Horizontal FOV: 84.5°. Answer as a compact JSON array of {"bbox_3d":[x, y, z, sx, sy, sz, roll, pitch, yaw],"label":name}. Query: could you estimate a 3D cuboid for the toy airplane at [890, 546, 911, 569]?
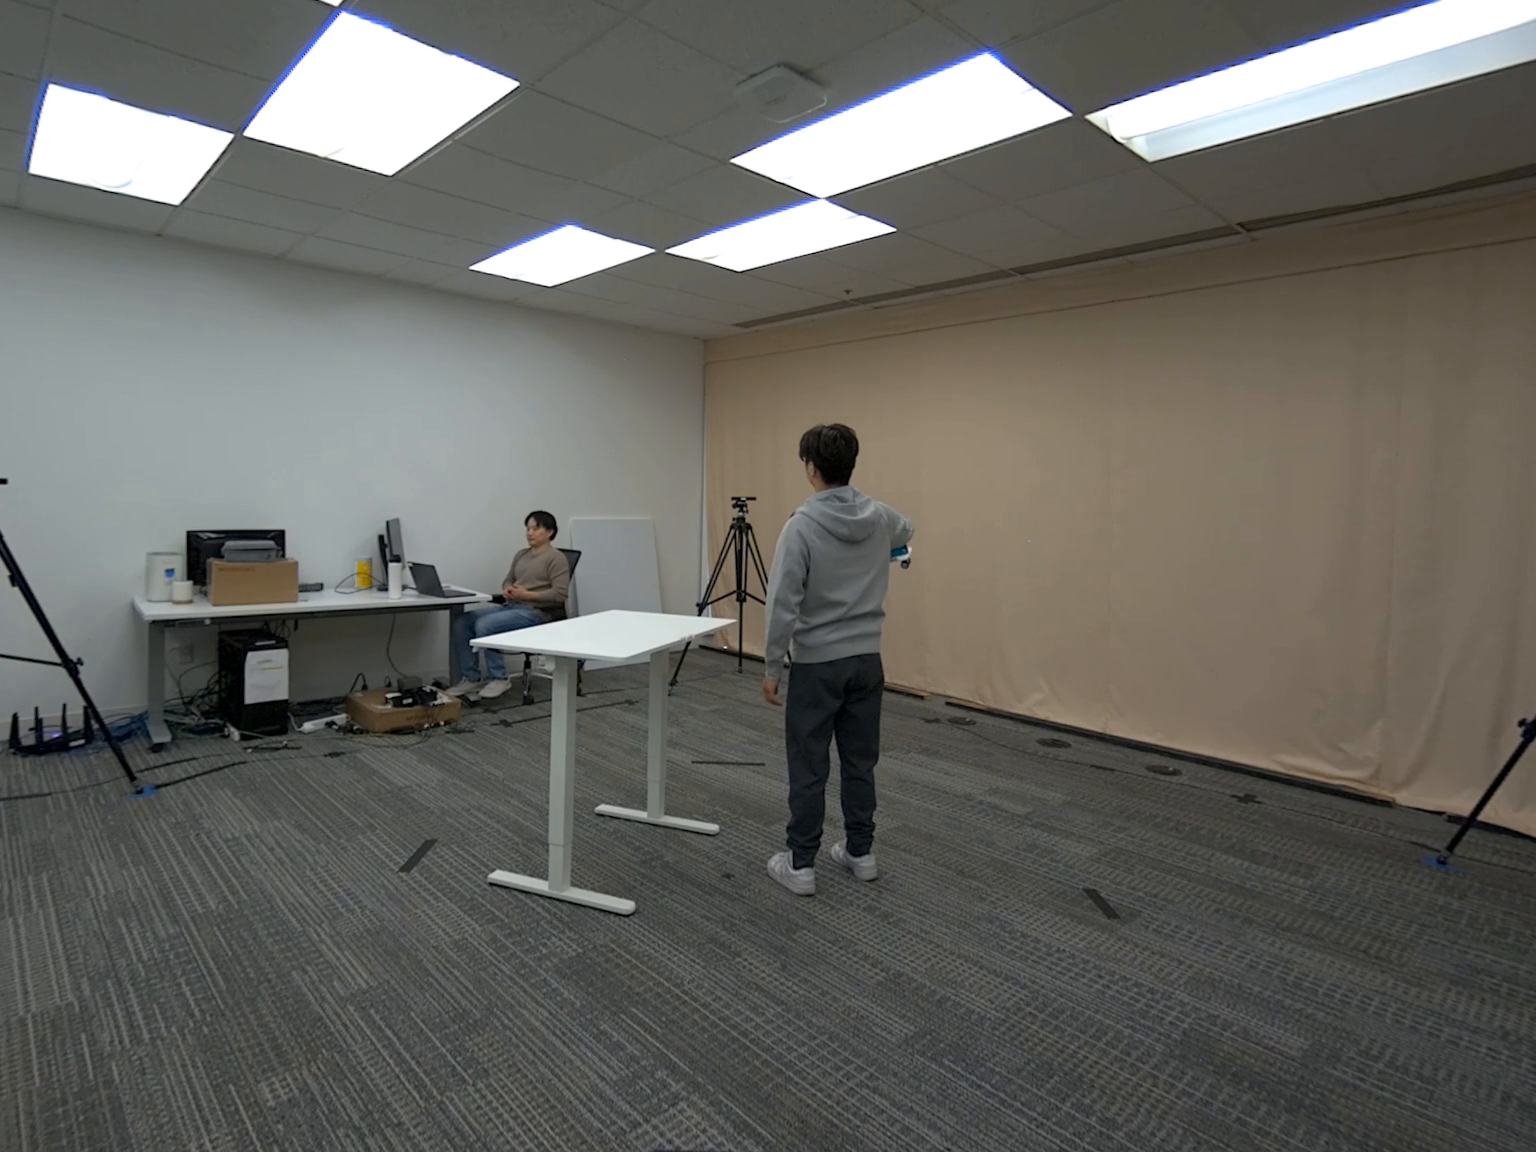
[{"bbox_3d":[0.494,-0.087,3.675,0.259,0.154,0.254,-30,14,2],"label":"toy airplane"}]
